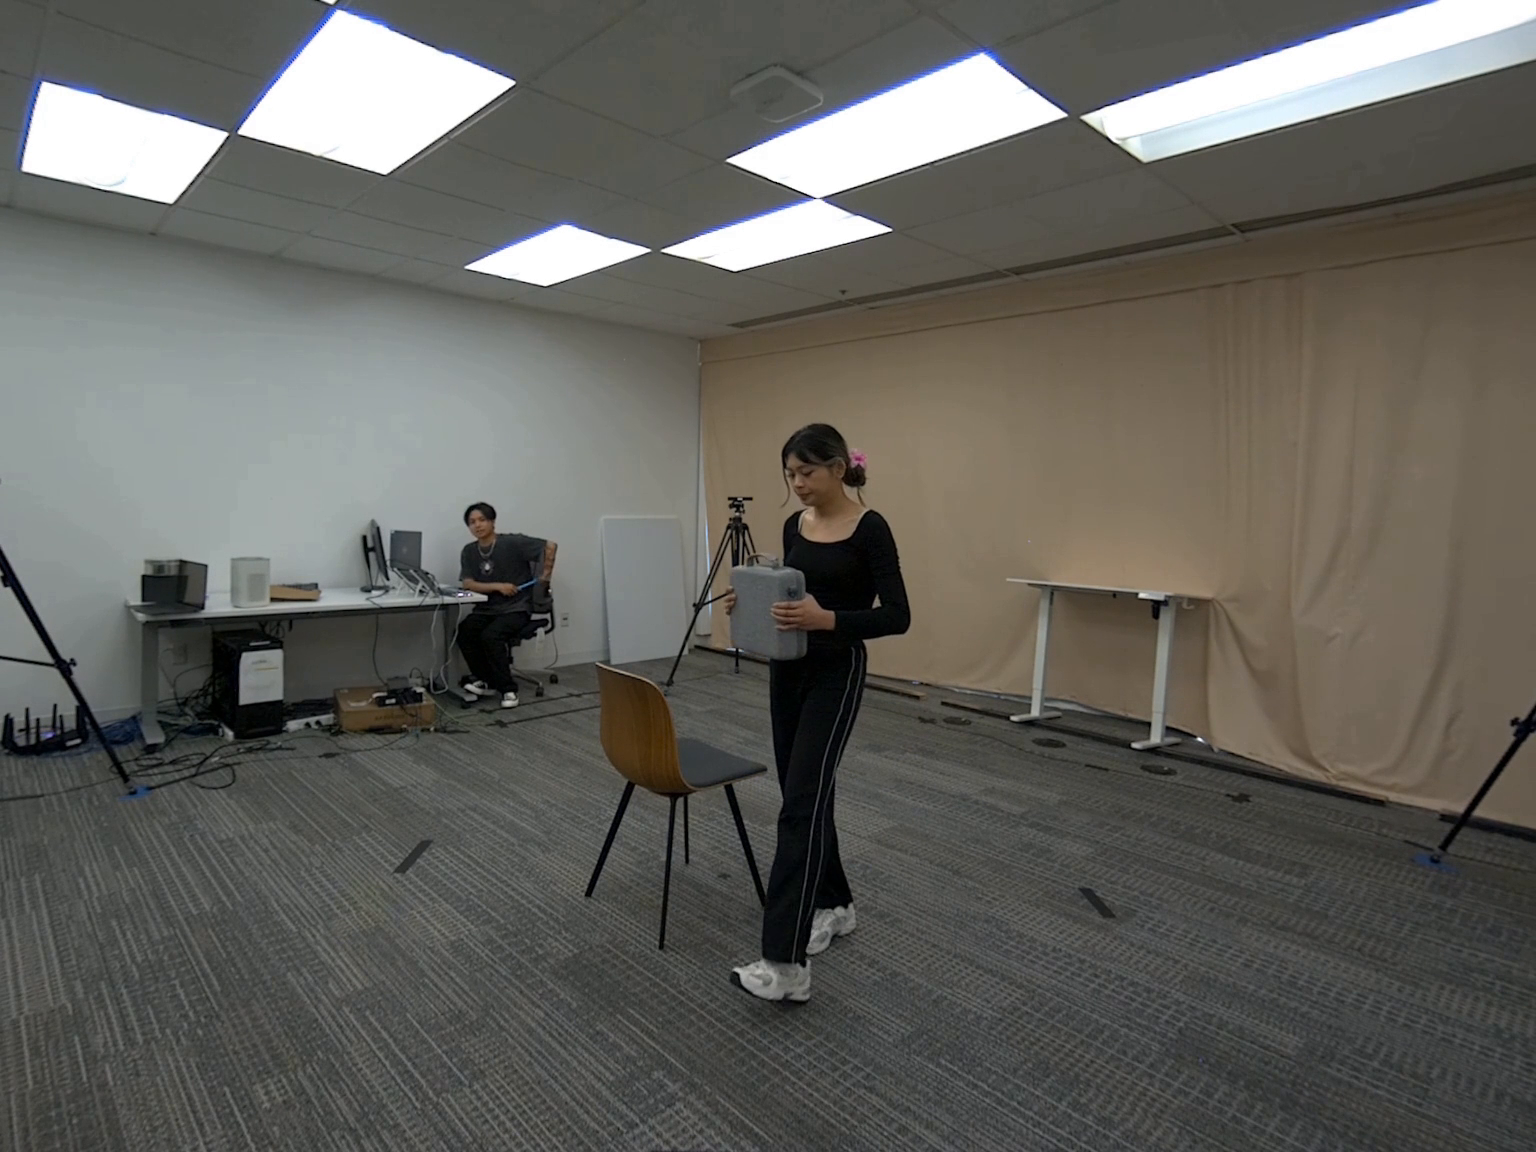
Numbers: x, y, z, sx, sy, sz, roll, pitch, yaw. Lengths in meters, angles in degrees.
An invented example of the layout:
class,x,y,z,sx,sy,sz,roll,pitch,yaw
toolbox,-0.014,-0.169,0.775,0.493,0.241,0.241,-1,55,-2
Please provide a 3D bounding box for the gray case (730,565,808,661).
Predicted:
class,x,y,z,sx,sy,sz,roll,pitch,yaw
gray case,-0.008,0.098,2.404,0.102,0.260,0.263,-5,6,-34
